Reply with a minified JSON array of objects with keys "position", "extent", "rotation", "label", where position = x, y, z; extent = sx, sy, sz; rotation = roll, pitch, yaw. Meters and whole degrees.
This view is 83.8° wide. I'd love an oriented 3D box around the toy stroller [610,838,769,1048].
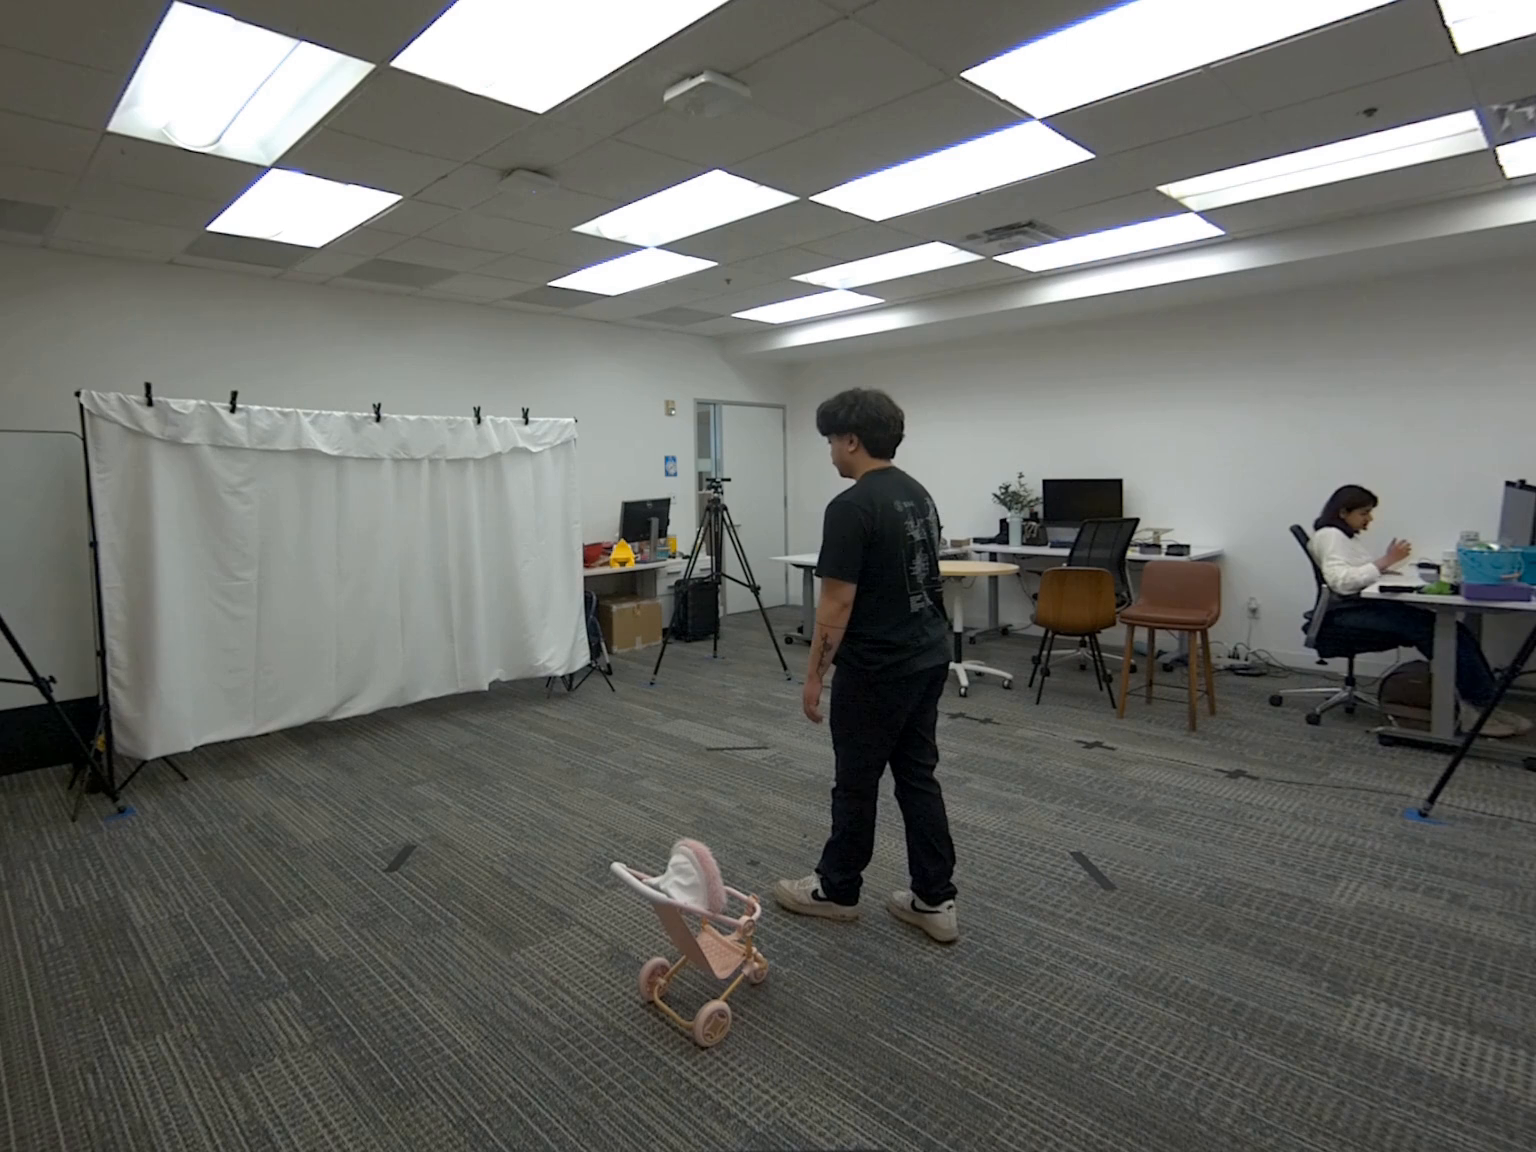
[{"position":[-0.166,0.925,2.235],"extent":[0.336,0.527,0.290],"rotation":[-23,16,-33],"label":"toy stroller"}]
